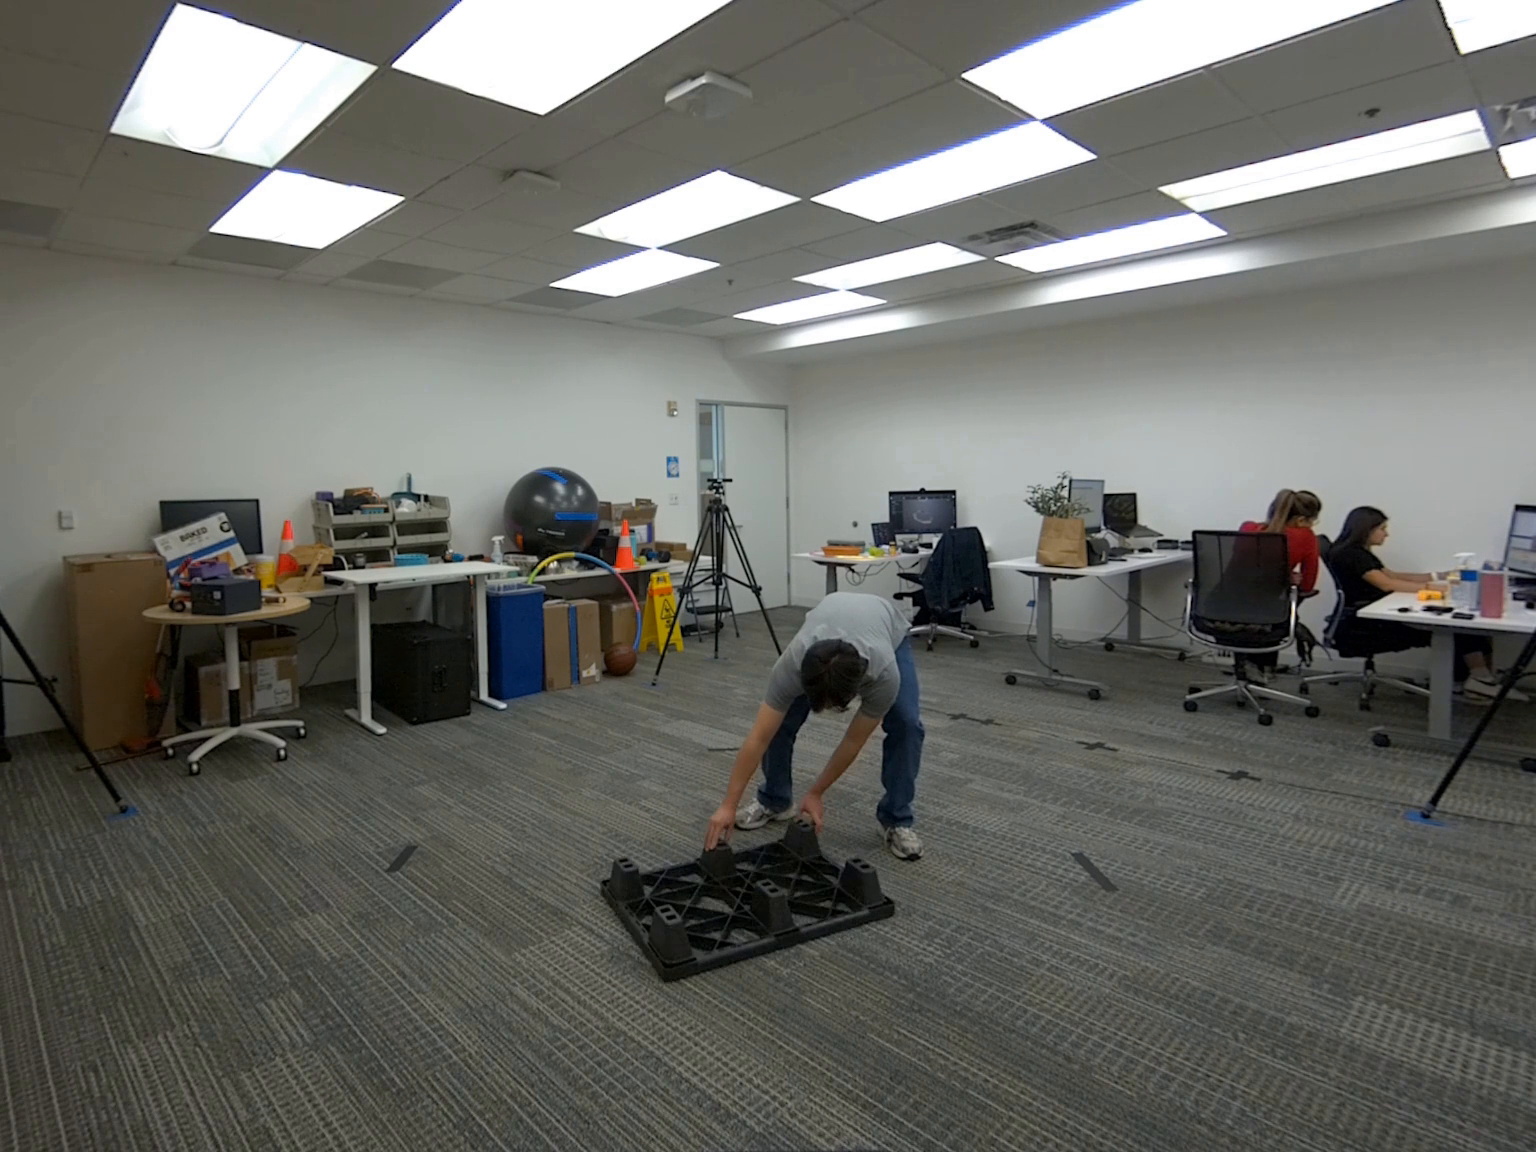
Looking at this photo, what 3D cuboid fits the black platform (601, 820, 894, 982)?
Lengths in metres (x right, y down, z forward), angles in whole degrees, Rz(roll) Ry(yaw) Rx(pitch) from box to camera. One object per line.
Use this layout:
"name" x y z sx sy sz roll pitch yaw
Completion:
"black platform" -0.078 1.013 2.809 0.788 0.142 0.621 -5 7 -27
